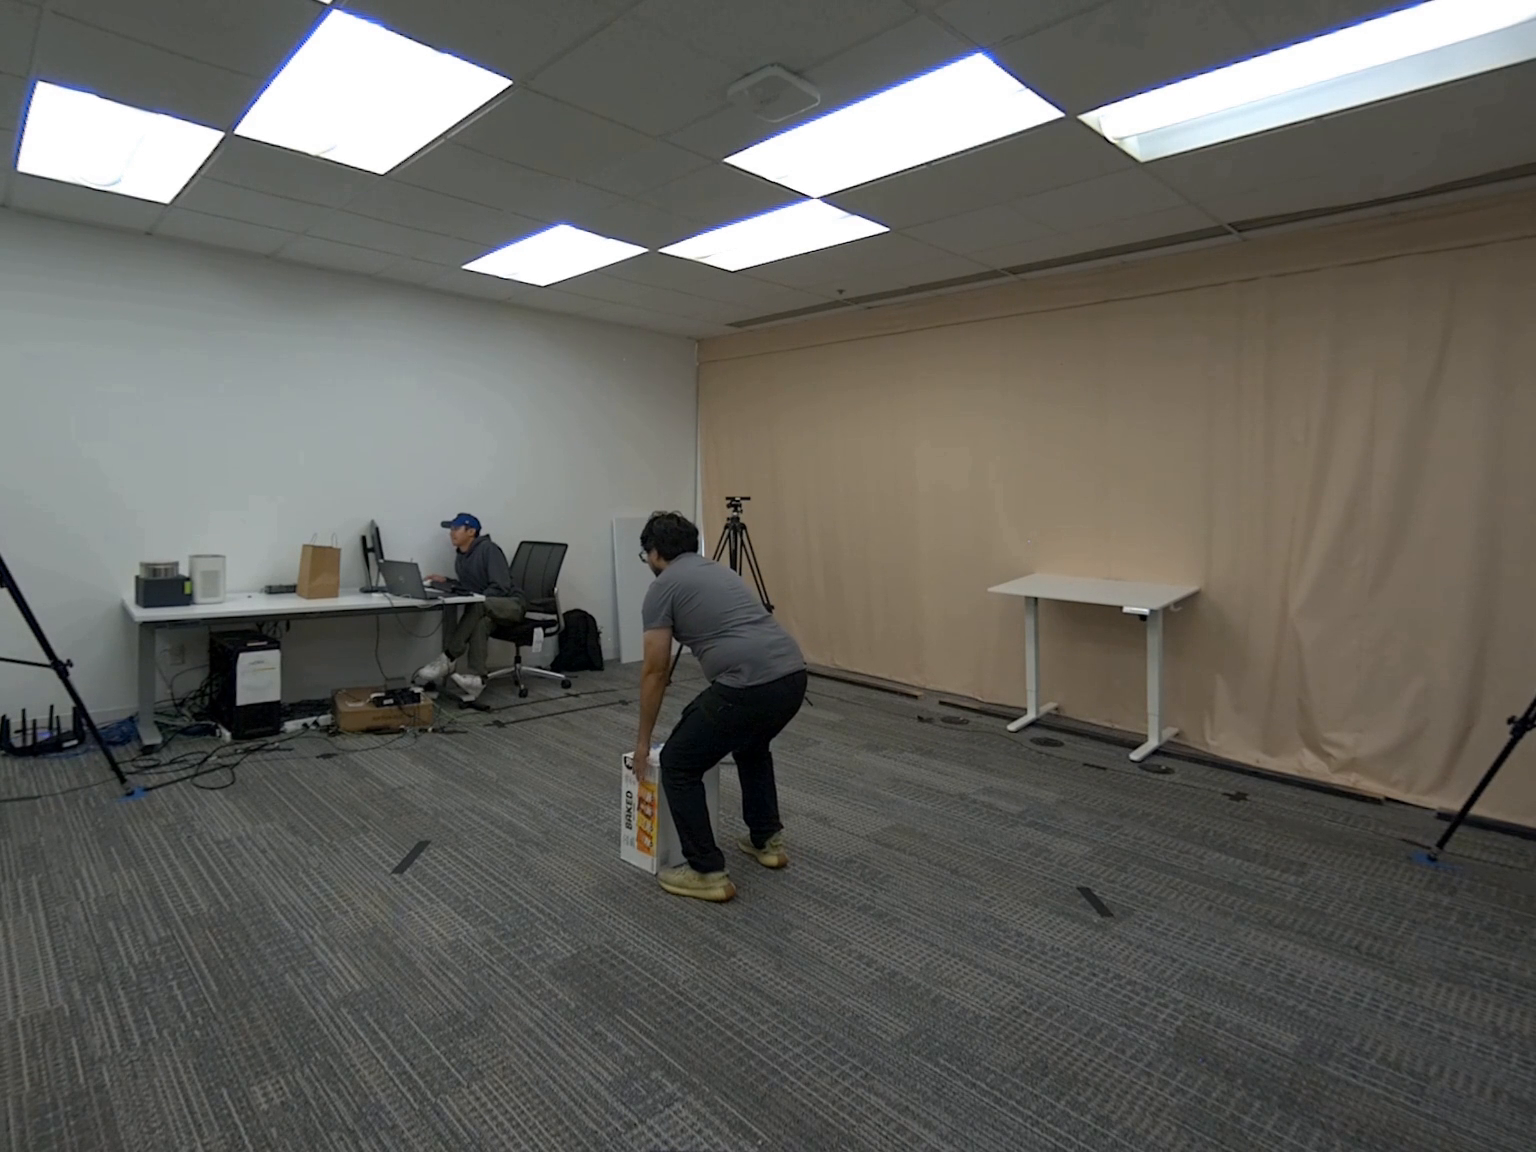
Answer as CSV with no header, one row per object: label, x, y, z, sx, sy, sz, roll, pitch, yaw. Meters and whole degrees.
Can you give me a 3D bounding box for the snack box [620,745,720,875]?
snack box,-0.385,0.887,3.278,0.211,0.404,0.332,4,4,41
